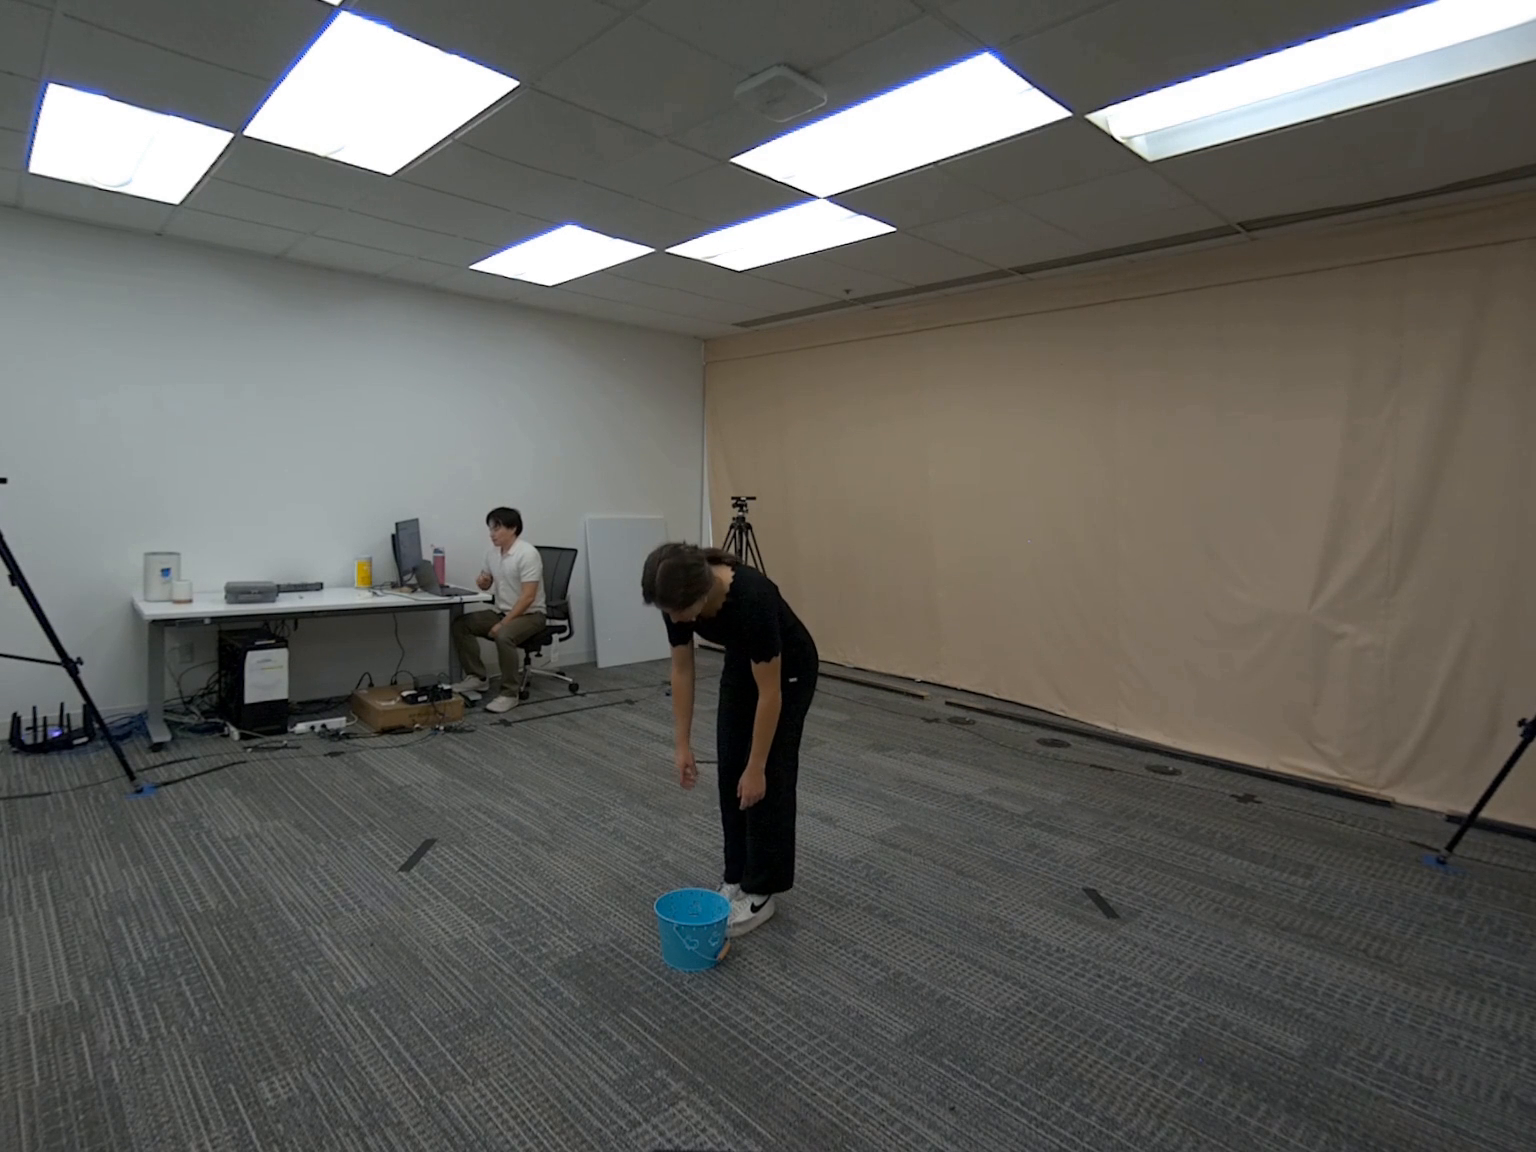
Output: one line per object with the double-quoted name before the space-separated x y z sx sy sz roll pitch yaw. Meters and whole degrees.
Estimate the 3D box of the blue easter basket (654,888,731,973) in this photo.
"blue easter basket" -0.237 1.076 2.549 0.243 0.155 0.244 1 4 -1
